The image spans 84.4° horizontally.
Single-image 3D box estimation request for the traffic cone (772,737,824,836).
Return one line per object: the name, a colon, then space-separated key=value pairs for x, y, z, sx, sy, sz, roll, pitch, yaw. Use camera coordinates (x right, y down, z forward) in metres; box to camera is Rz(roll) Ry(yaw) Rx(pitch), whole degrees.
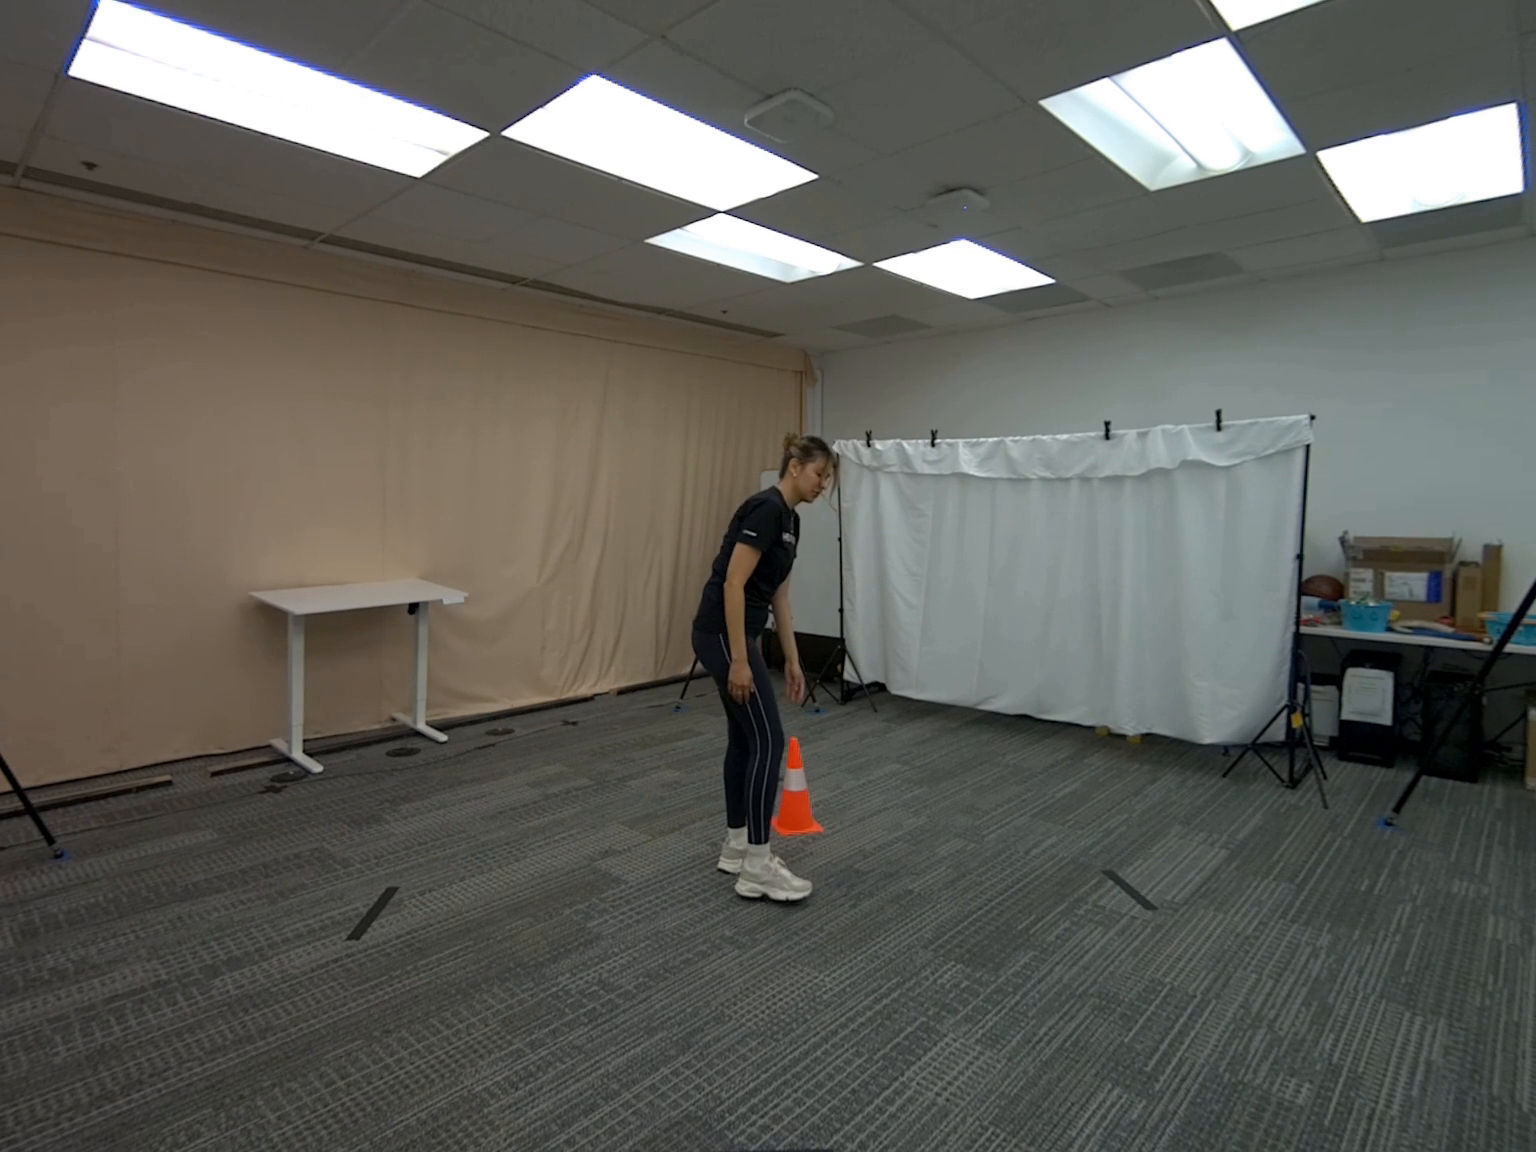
traffic cone: x=0.117 y=0.900 z=3.675 sx=0.199 sy=0.383 sz=0.209 roll=0 pitch=3 yaw=-19
